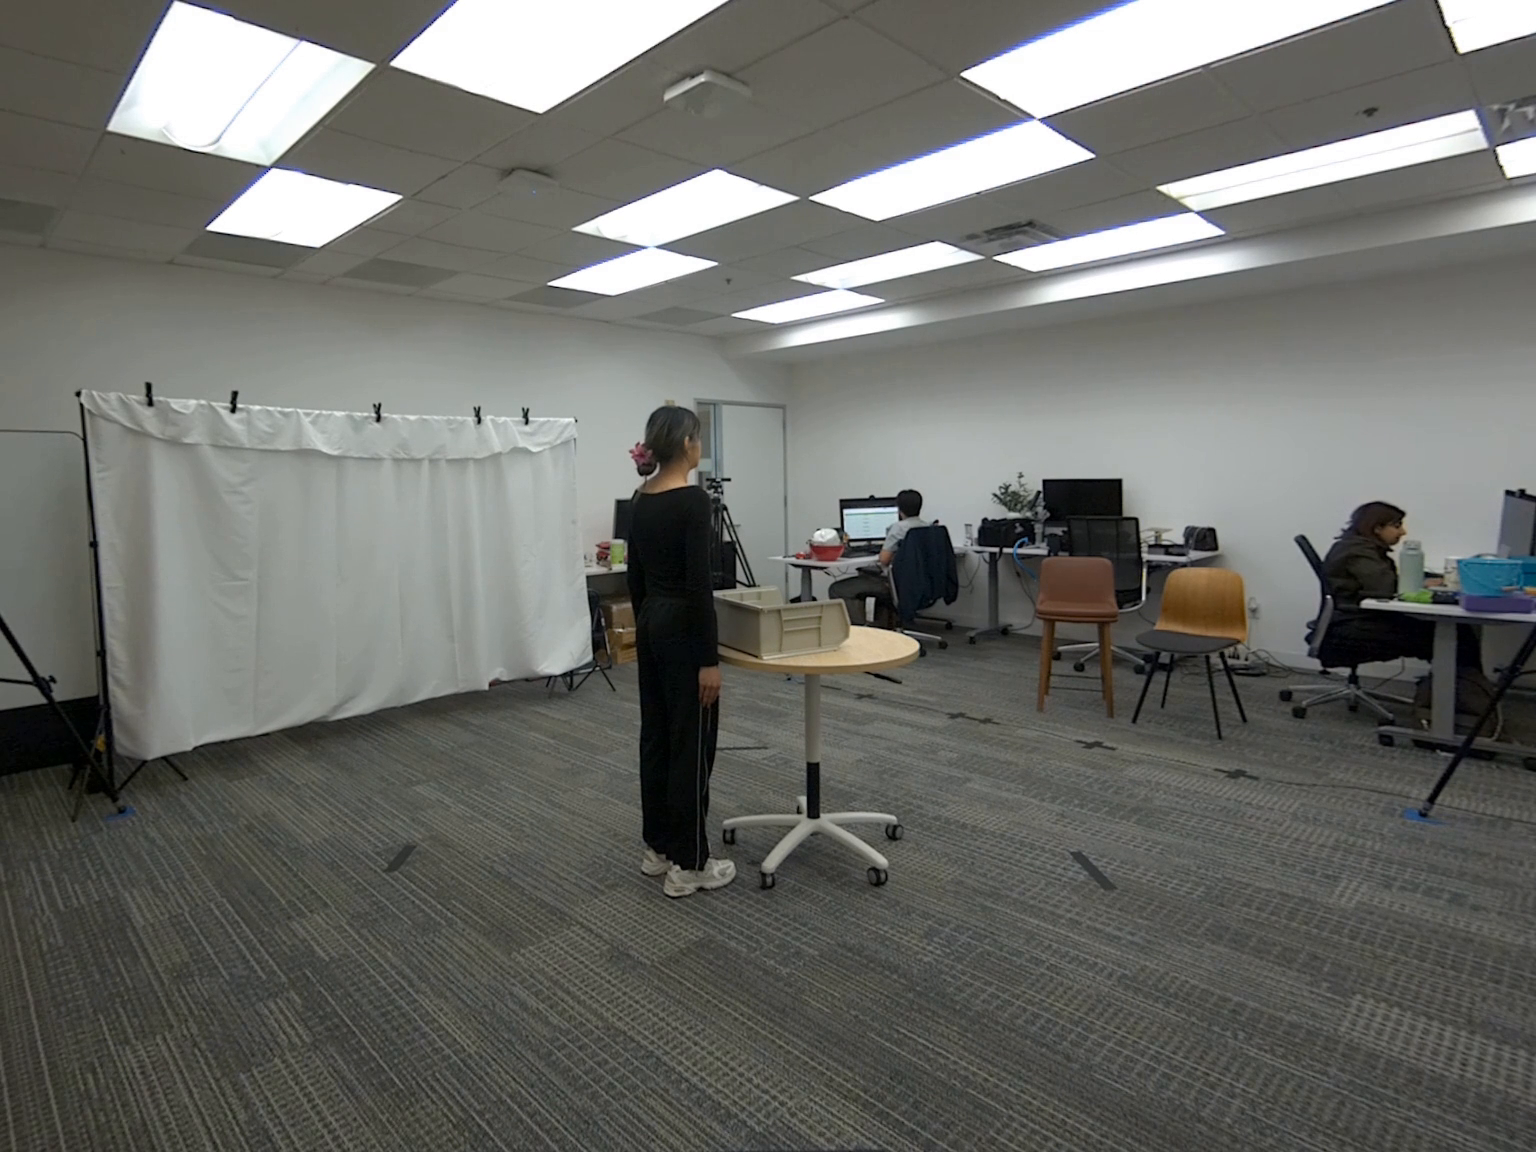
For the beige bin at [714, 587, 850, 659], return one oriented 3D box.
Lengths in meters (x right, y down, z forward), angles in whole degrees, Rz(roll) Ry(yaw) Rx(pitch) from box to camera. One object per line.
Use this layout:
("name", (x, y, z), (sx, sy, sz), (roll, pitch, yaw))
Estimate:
("beige bin", (0.023, 0.158, 3.086), (0.368, 0.188, 0.435), (-6, 8, -32))
